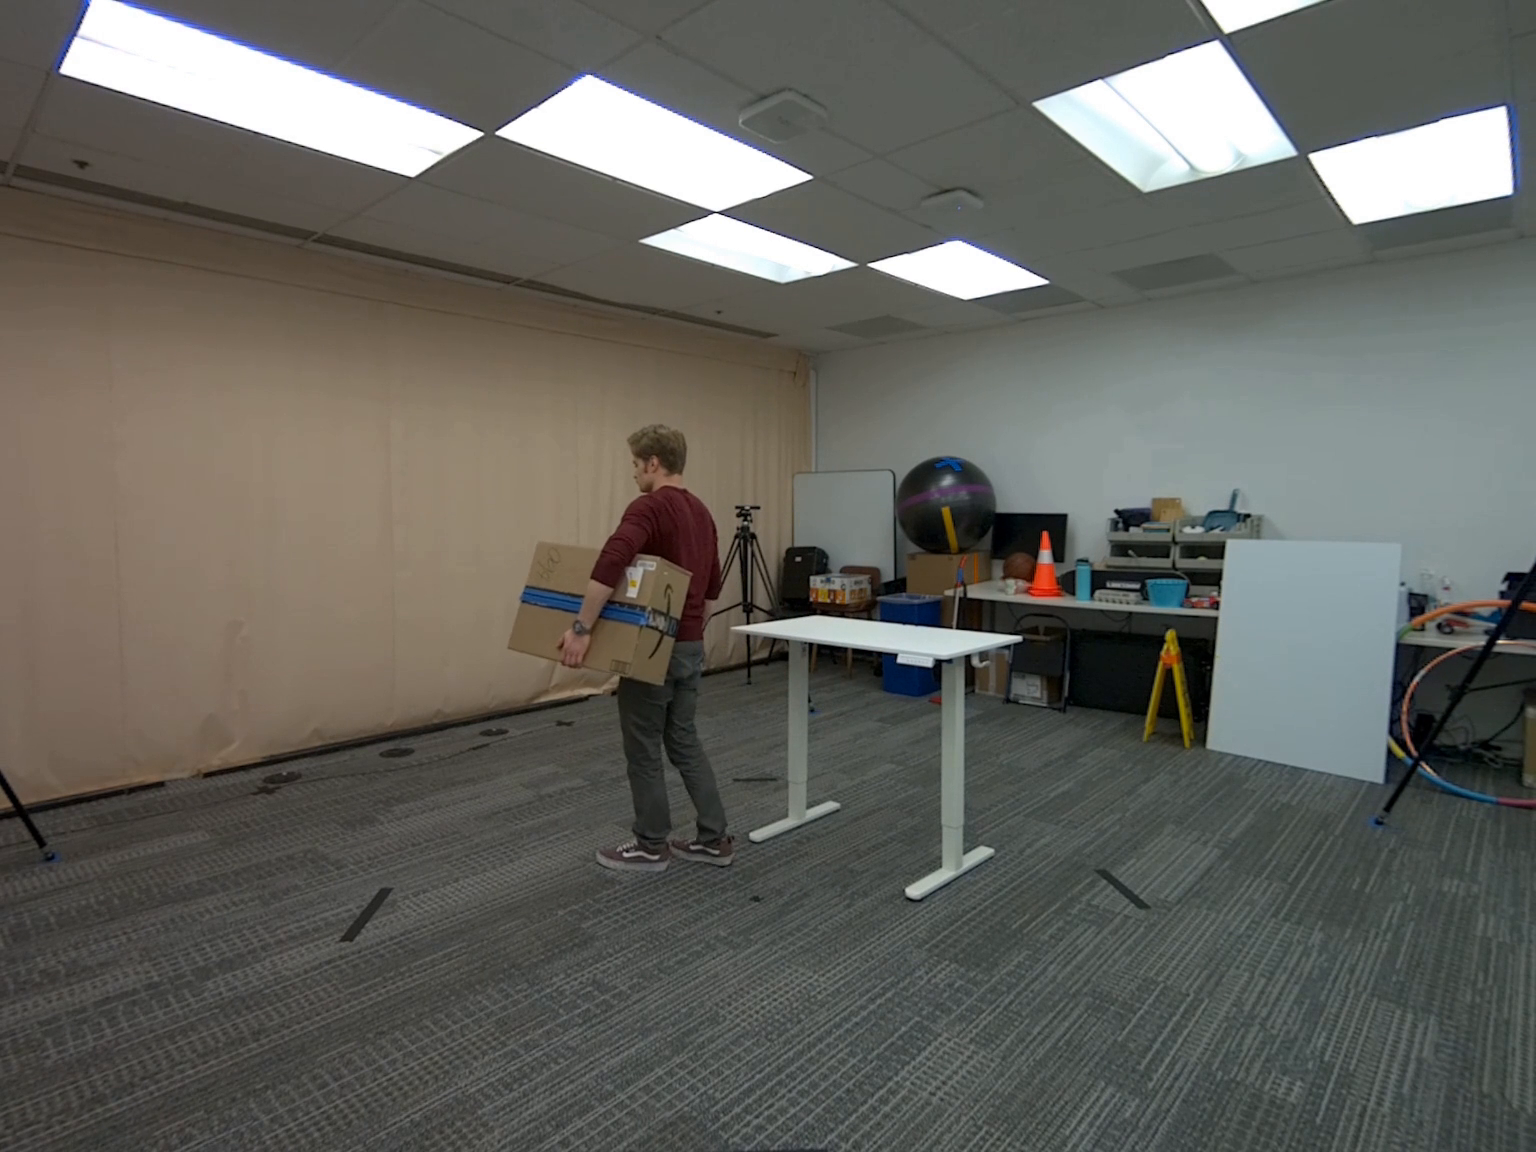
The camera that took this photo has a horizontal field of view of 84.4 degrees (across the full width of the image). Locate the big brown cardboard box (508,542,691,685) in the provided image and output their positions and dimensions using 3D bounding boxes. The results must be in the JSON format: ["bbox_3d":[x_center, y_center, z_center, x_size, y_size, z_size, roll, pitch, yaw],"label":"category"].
[{"bbox_3d":[-0.602,0.133,3.028,0.607,0.419,0.225,6,-12,31],"label":"big brown cardboard box"}]
